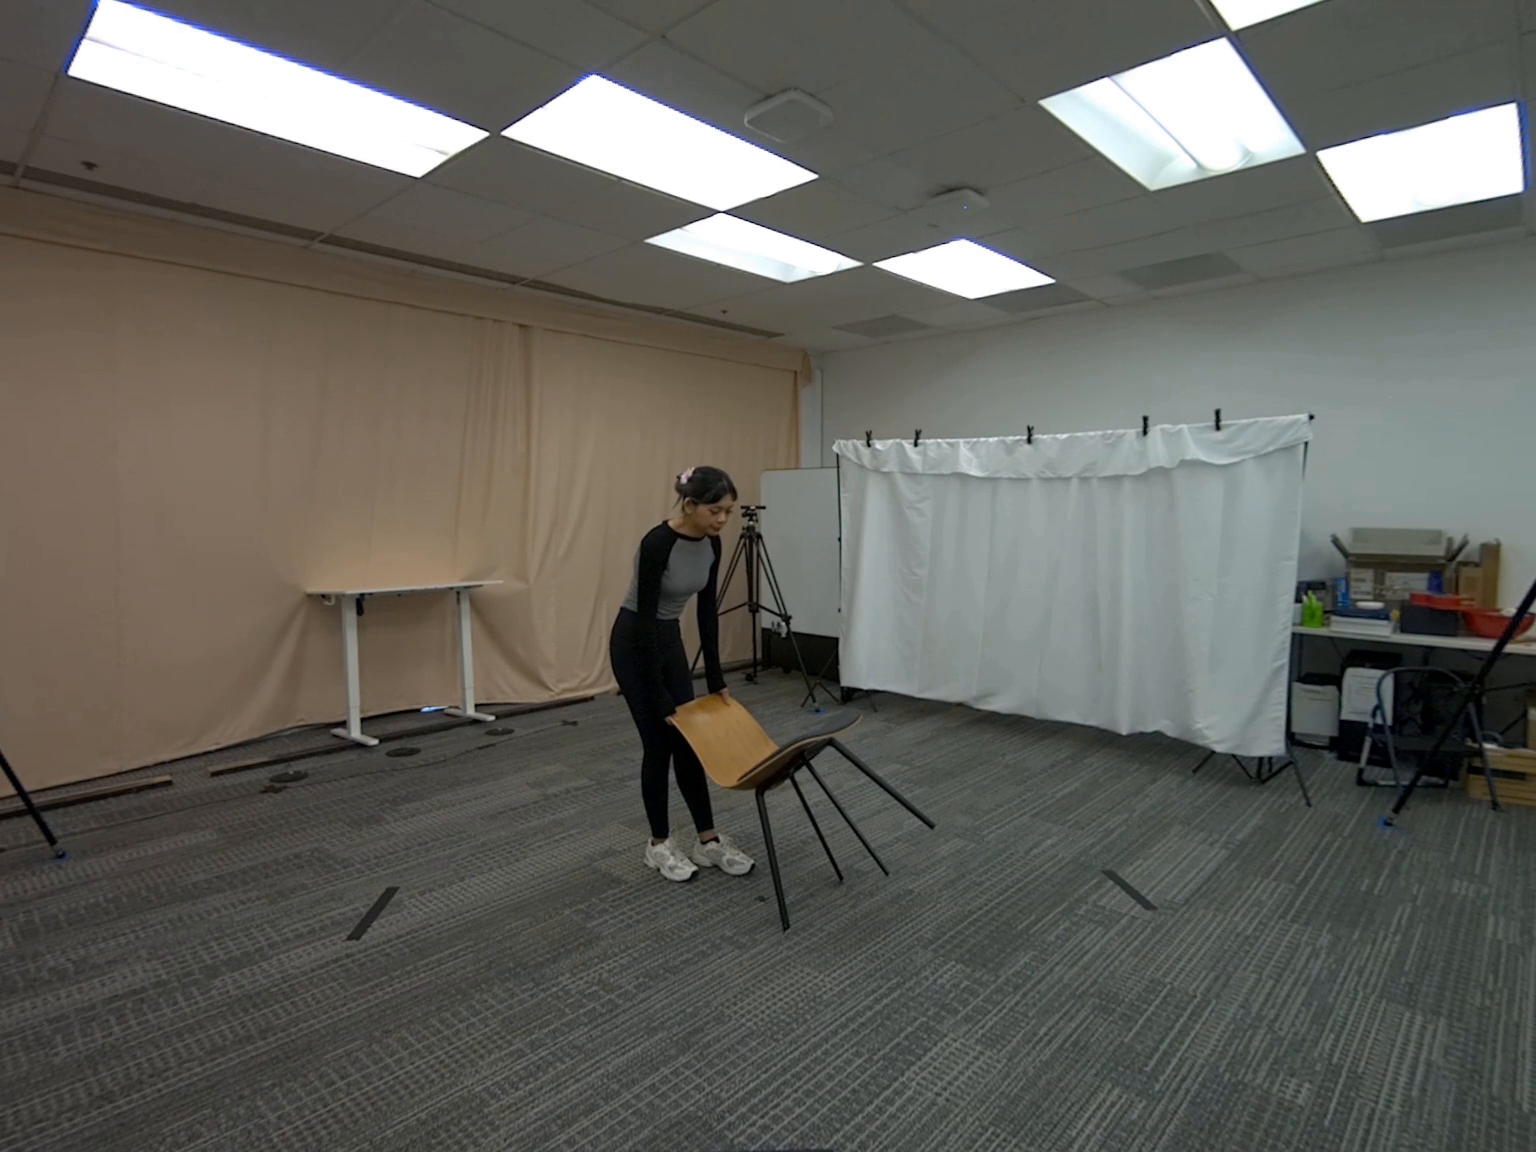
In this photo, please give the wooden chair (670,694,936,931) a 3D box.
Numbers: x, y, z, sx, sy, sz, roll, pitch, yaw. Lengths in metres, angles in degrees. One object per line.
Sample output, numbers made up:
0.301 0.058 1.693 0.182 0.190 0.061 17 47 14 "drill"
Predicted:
0.102 0.666 2.948 0.527 0.896 0.465 -46 -20 26 "wooden chair"
